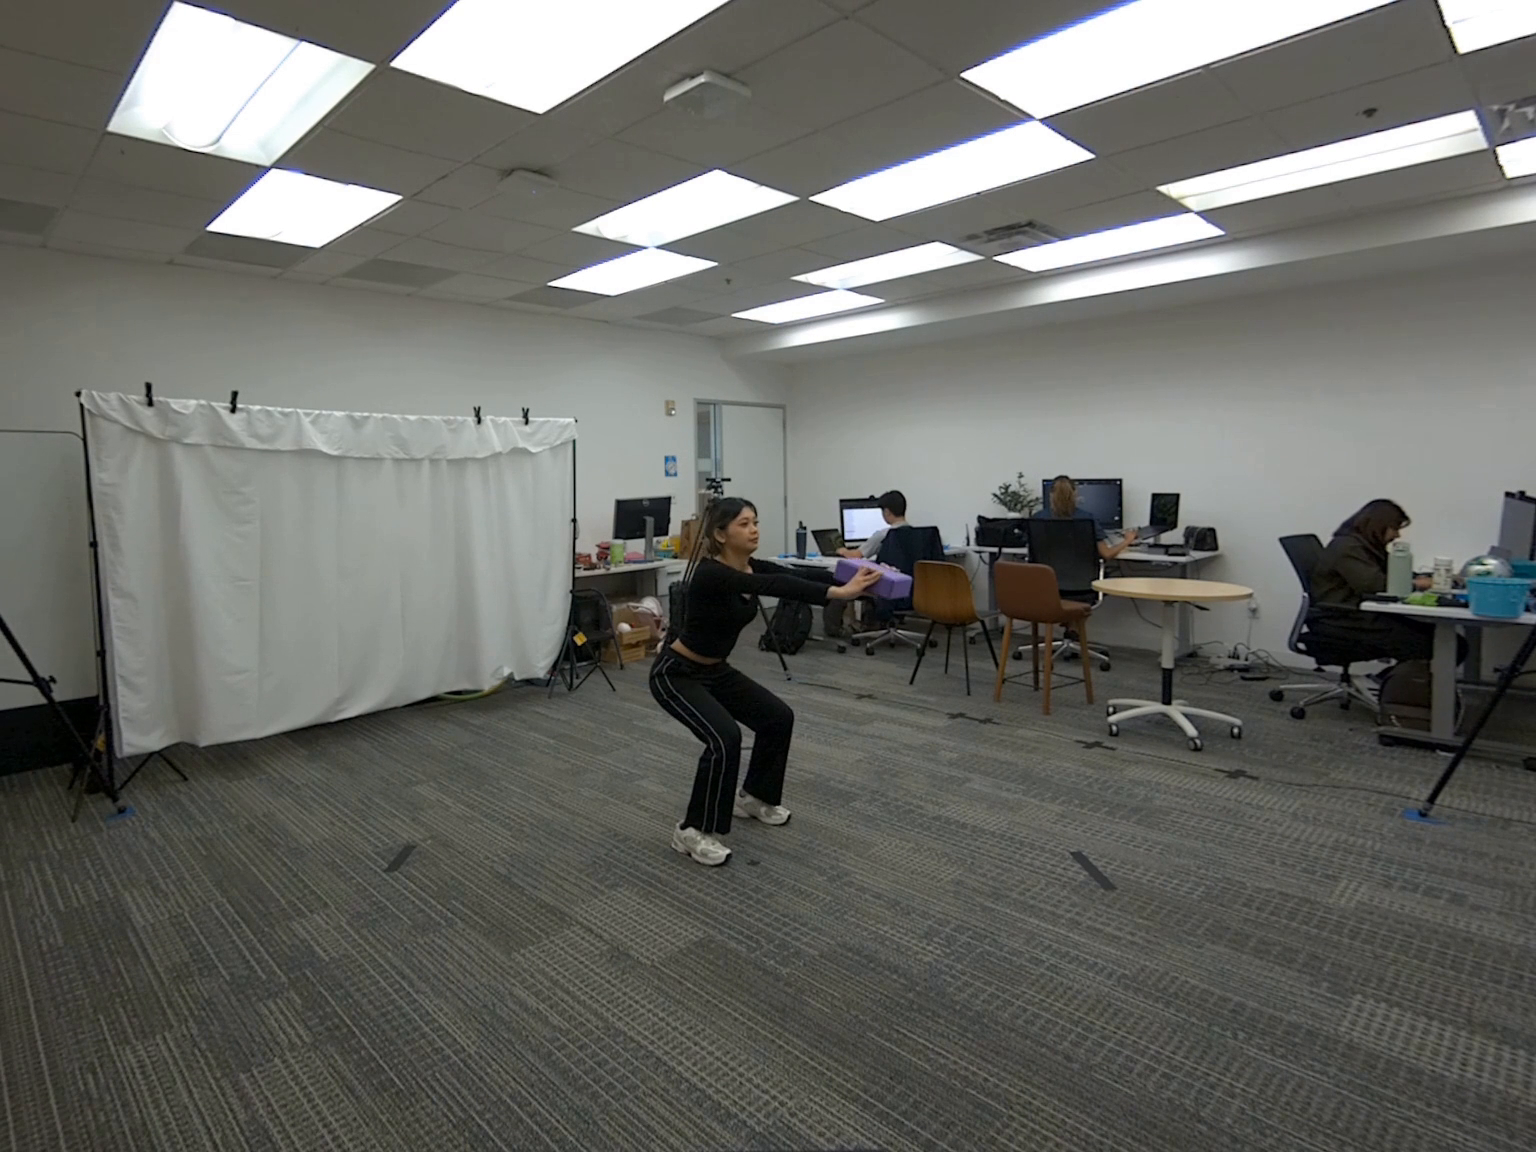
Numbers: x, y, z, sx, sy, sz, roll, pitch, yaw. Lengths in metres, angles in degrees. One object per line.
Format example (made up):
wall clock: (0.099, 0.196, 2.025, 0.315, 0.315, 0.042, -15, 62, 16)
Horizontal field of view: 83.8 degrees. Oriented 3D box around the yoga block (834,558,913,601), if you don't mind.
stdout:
yoga block: (0.372, 0.000, 2.965, 0.237, 0.076, 0.145, 19, 12, 30)
